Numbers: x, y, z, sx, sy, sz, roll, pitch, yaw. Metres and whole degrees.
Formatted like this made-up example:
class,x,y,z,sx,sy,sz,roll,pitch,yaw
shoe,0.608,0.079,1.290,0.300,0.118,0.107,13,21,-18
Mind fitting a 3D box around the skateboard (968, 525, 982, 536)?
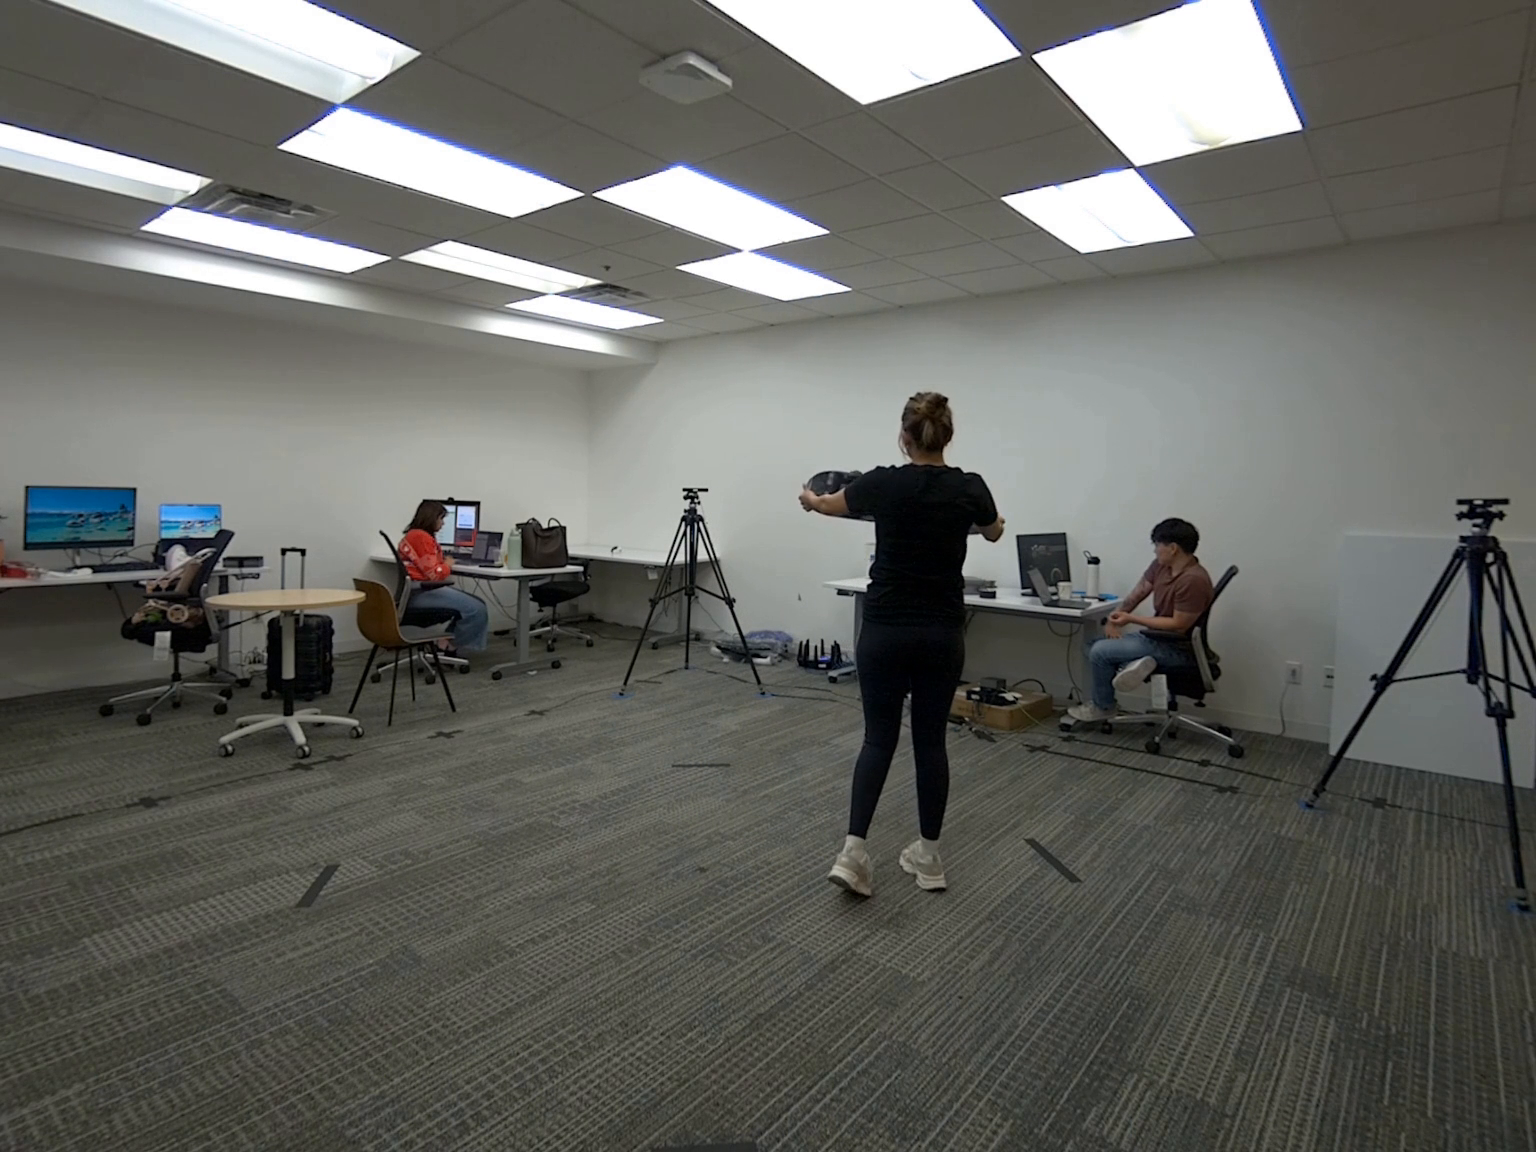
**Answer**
class,x,y,z,sx,sy,sz,roll,pitch,yaw
skateboard,0.526,-0.307,3.460,0.788,0.195,0.109,8,-8,3
